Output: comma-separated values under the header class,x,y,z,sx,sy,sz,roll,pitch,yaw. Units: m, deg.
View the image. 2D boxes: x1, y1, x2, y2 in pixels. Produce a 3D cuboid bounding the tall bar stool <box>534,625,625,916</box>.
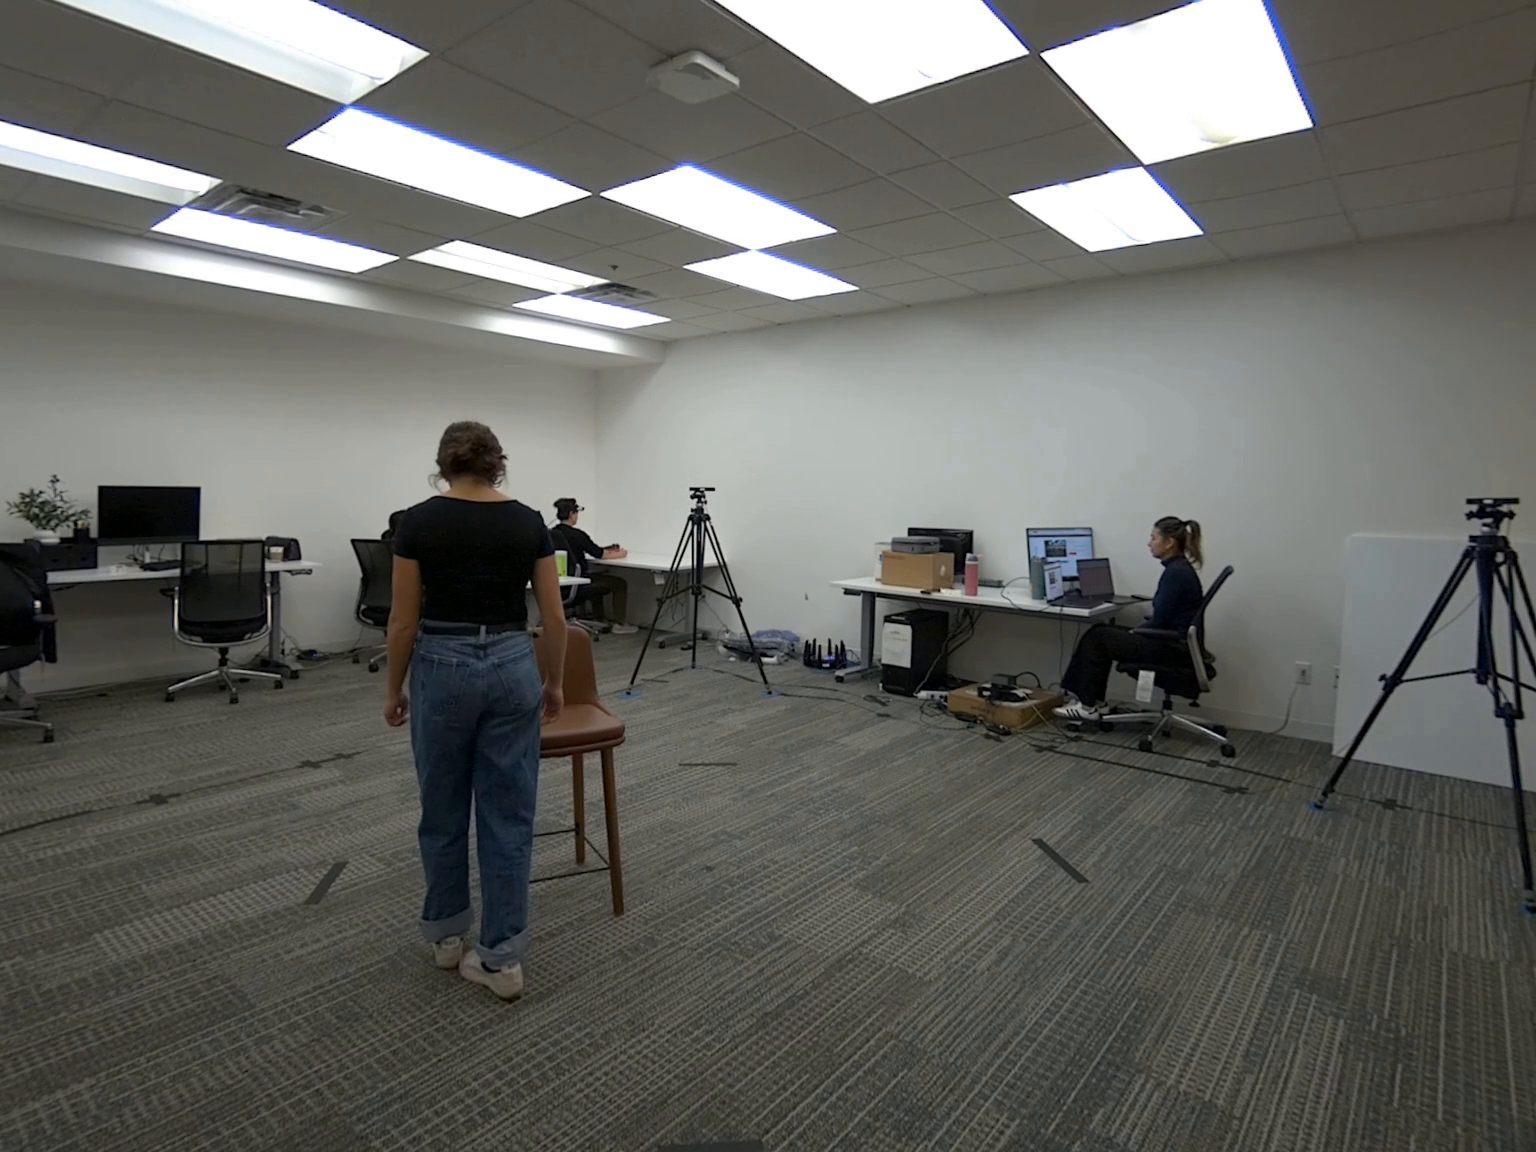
class,x,y,z,sx,sy,sz,roll,pitch,yaw
tall bar stool,-0.755,0.646,2.862,0.445,0.889,0.480,-1,2,-26
